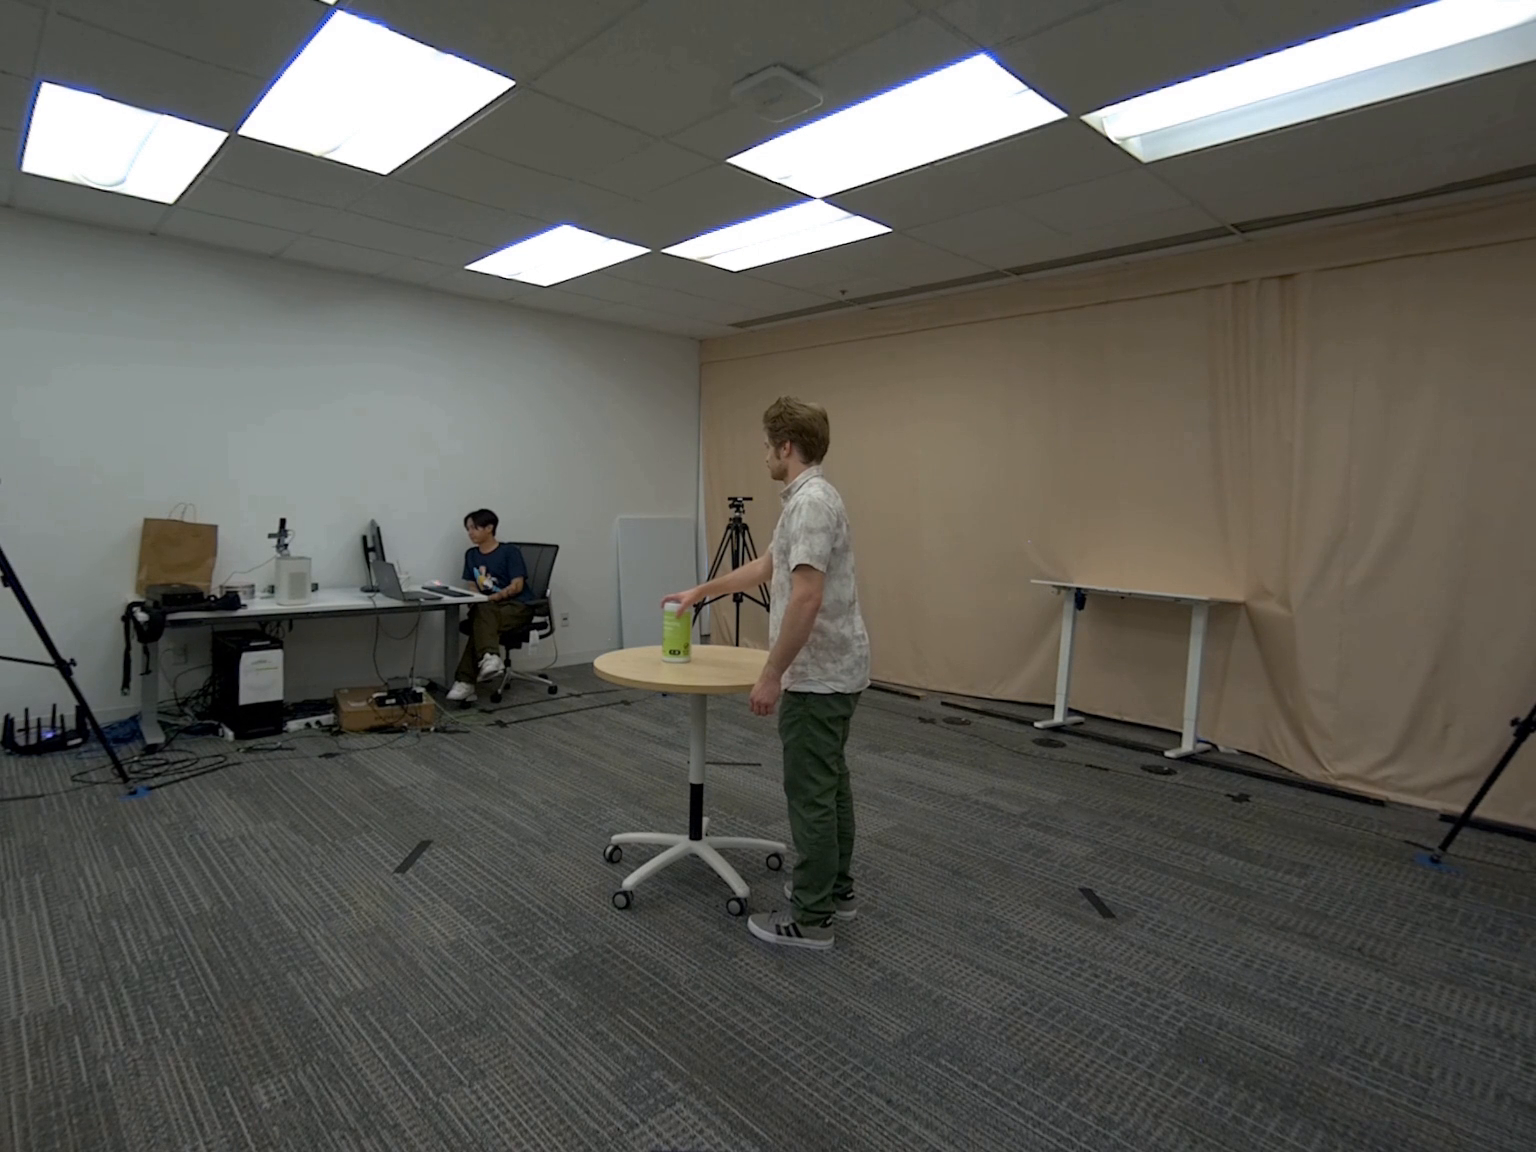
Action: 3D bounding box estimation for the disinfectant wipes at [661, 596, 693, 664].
[{"bbox_3d":[-0.338,0.207,3.092,0.118,0.217,0.118,3,4,-2],"label":"disinfectant wipes"}]
